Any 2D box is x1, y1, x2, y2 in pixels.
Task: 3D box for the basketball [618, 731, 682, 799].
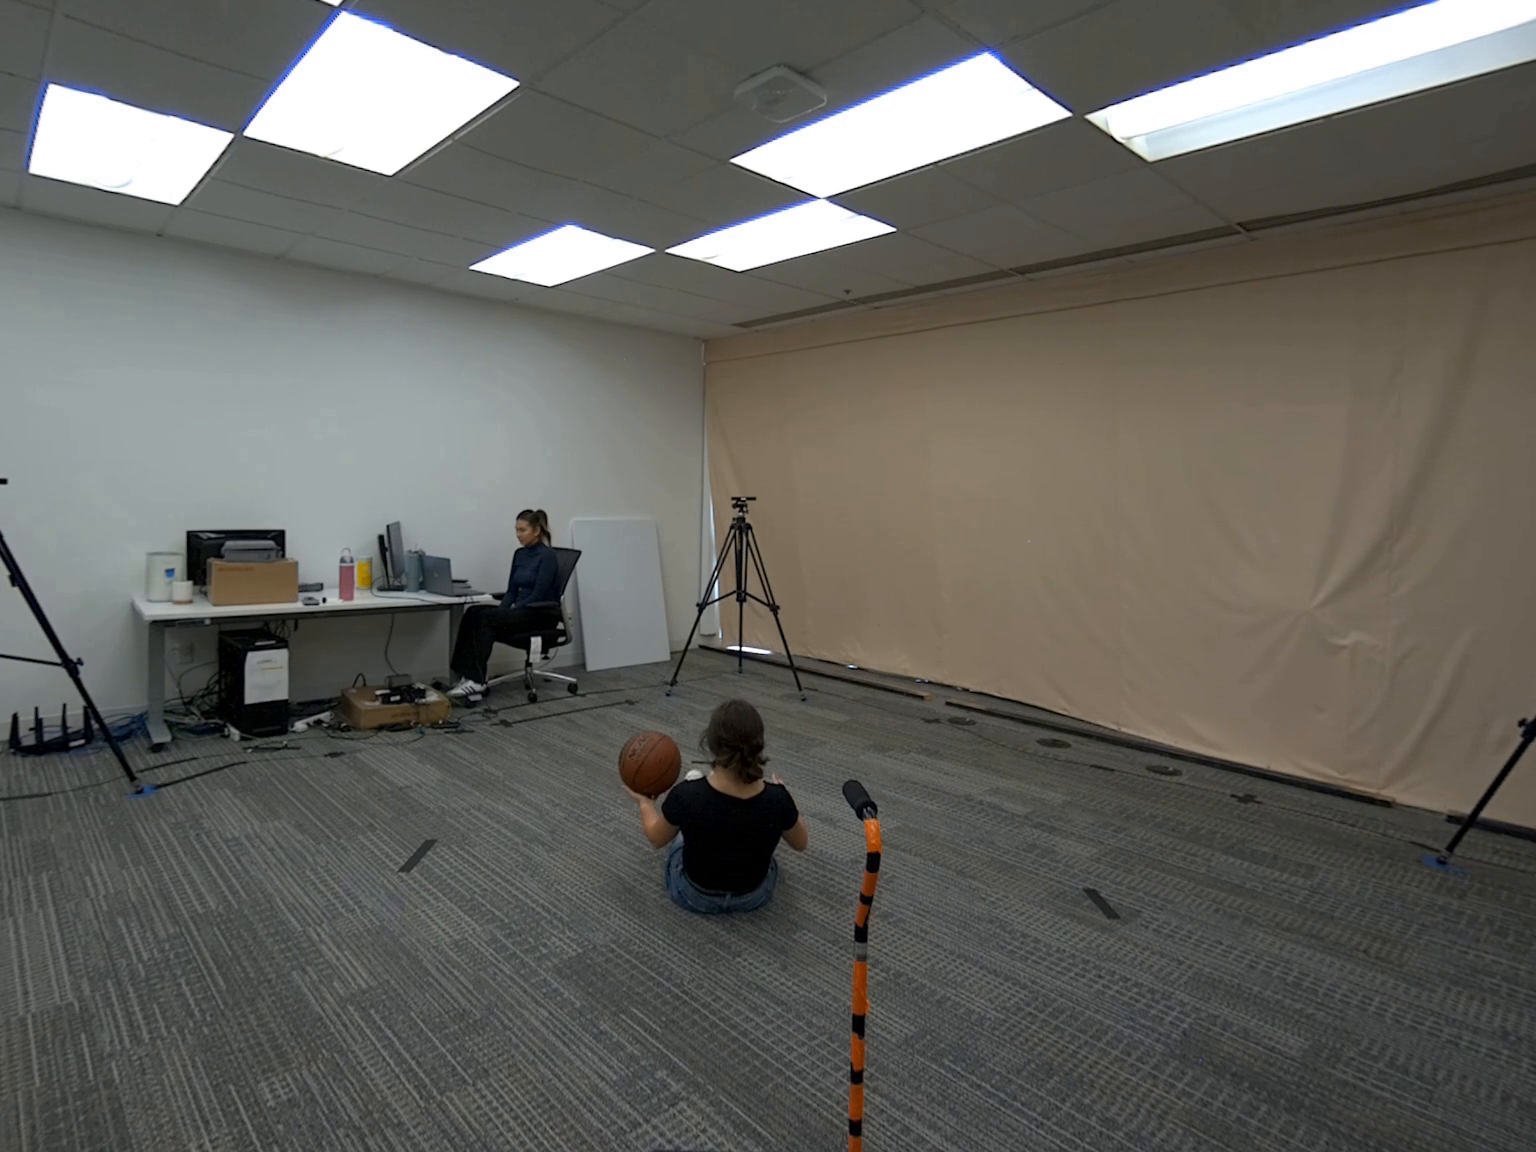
[{"bbox_3d":[-0.448,0.710,3.183,0.236,0.235,0.237,1,4,-1],"label":"basketball"}]
